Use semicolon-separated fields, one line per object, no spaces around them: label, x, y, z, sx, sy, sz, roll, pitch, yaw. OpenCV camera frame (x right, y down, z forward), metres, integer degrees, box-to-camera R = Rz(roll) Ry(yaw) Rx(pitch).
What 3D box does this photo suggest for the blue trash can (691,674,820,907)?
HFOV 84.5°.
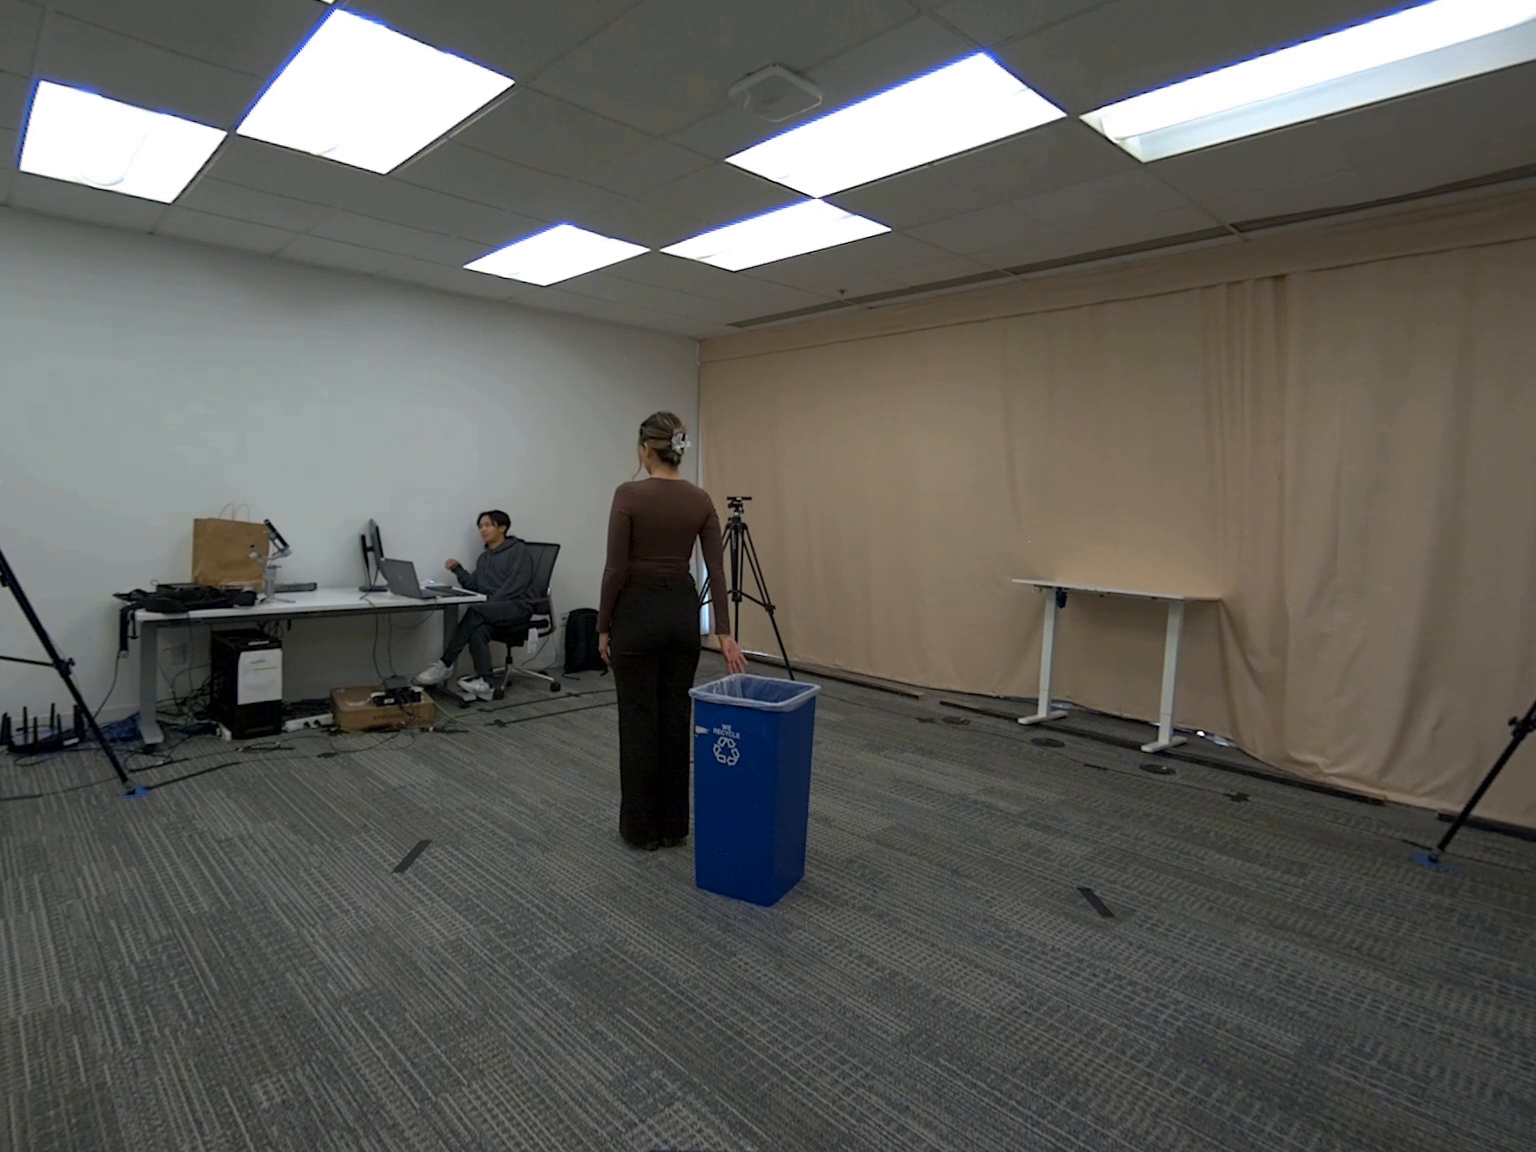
blue trash can;-0.062;0.754;3.047;0.386;0.711;0.367;3;5;27
